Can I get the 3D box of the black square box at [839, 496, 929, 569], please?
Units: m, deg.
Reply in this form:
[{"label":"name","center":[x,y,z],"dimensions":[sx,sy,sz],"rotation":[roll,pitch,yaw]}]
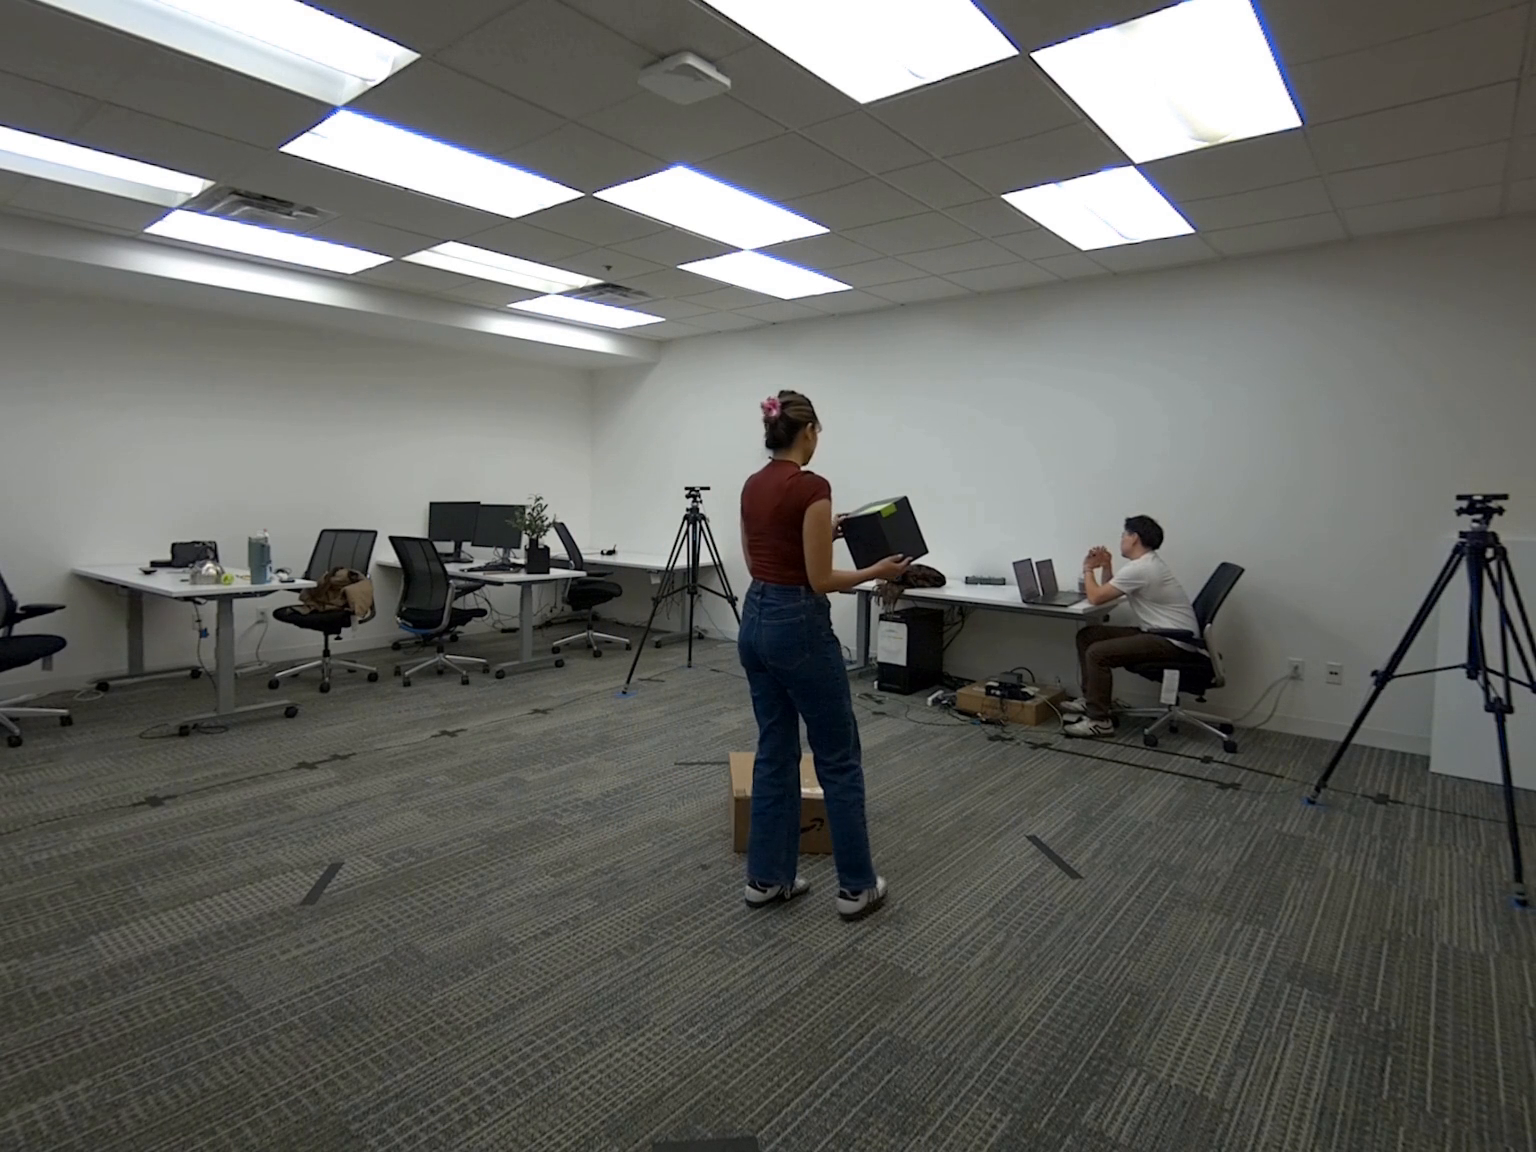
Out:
[{"label":"black square box","center":[0.394,-0.146,3.003],"dimensions":[0.154,0.215,0.233],"rotation":[-24,7,-28]}]
